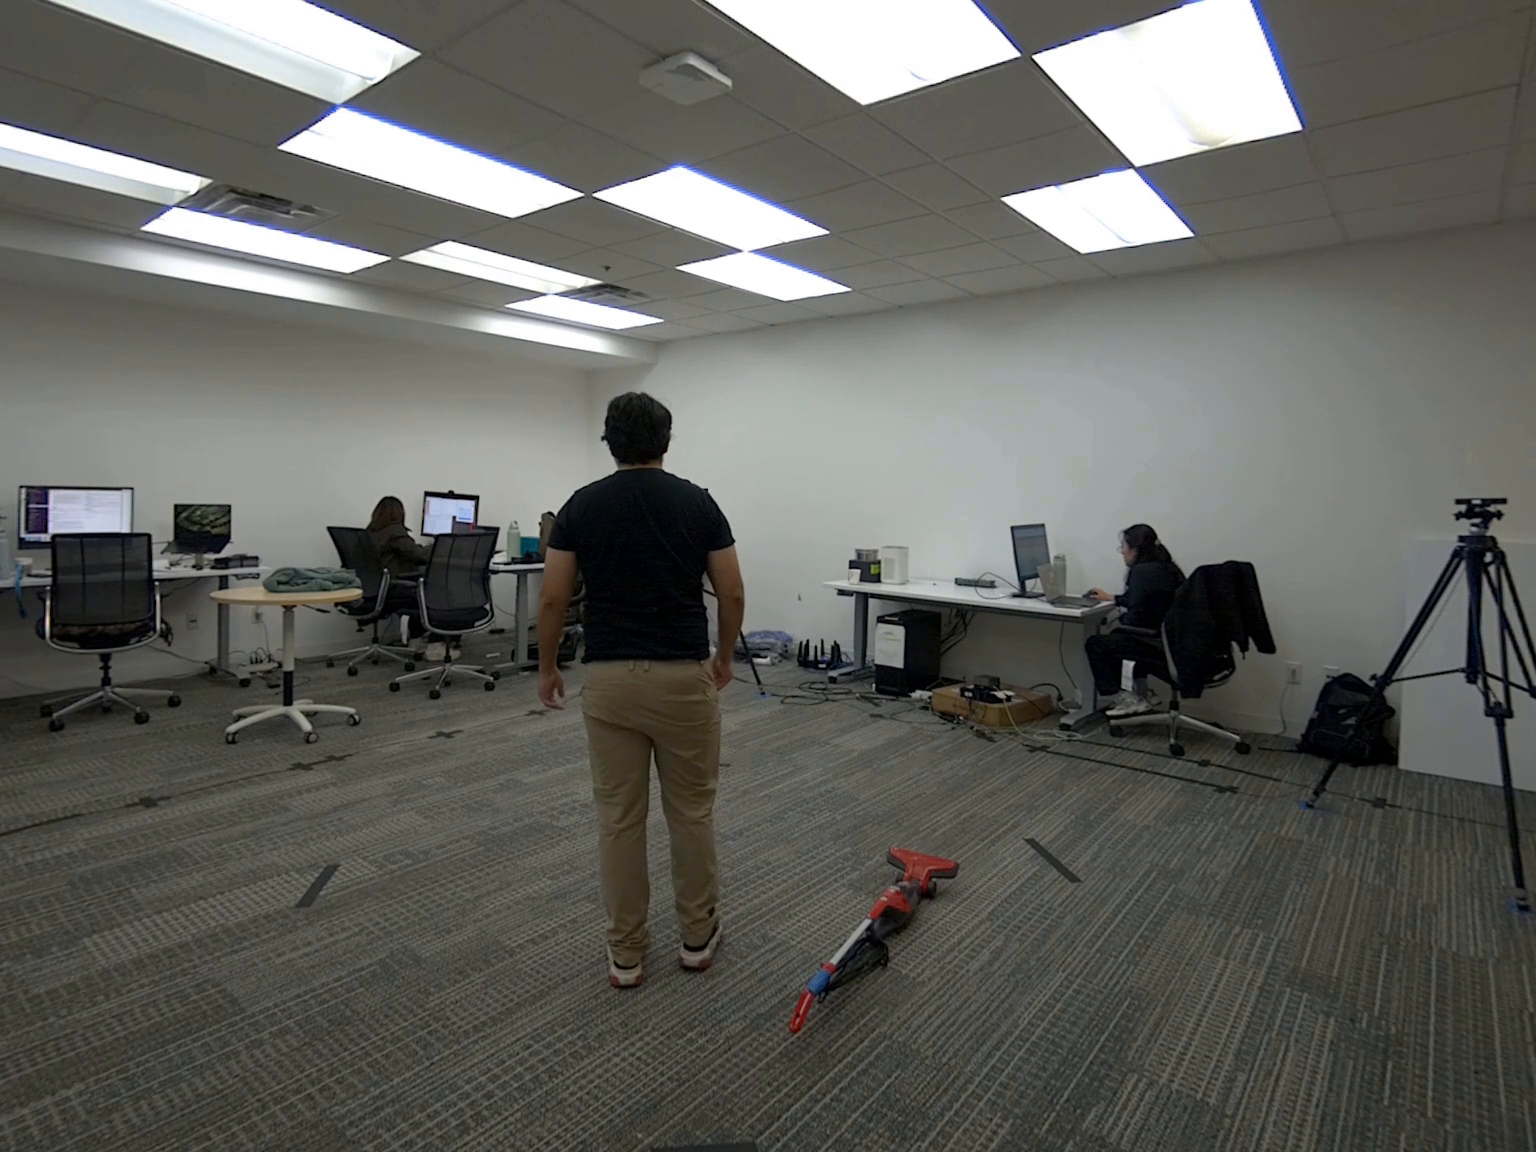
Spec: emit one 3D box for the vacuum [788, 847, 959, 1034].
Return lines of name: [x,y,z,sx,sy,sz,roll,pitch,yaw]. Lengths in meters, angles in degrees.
vacuum: [0.299,1.080,2.552,0.259,0.143,1.024,1,5,27]
